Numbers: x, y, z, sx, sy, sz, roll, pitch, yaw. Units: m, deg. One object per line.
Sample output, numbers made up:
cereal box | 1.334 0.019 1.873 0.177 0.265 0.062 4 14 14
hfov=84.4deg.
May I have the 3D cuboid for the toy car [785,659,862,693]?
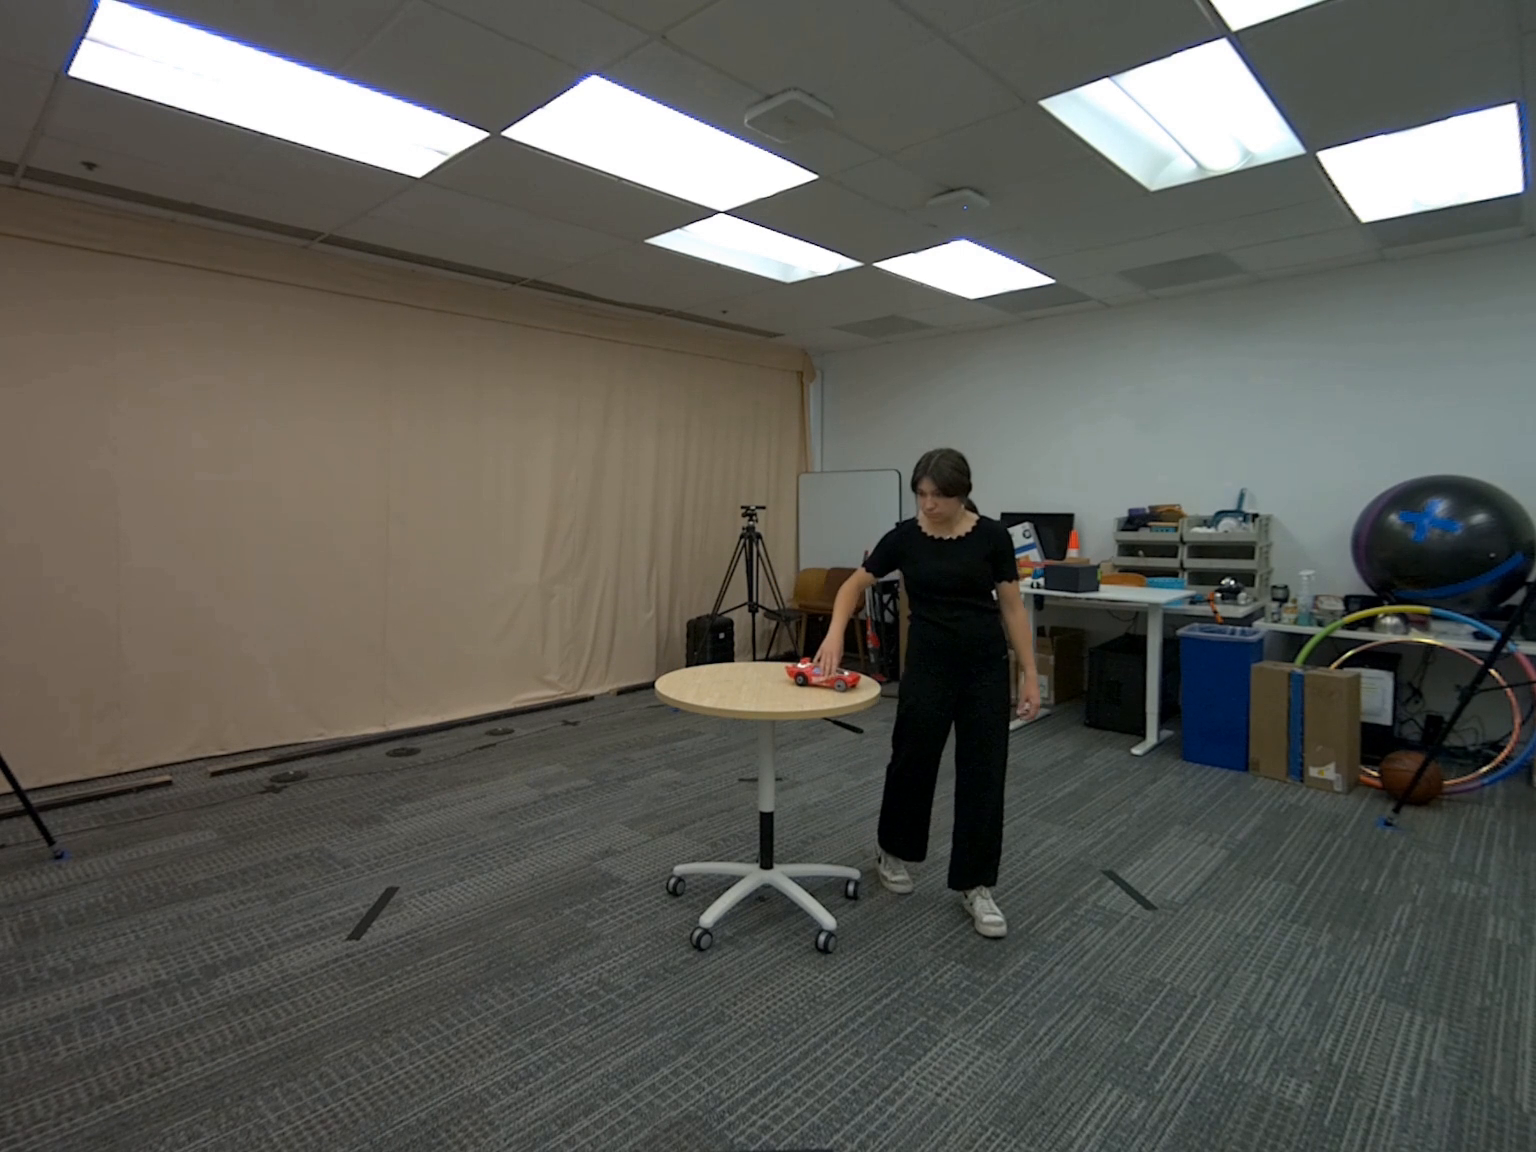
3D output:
toy car | 0.183 0.343 2.848 0.263 0.083 0.127 16 11 30
